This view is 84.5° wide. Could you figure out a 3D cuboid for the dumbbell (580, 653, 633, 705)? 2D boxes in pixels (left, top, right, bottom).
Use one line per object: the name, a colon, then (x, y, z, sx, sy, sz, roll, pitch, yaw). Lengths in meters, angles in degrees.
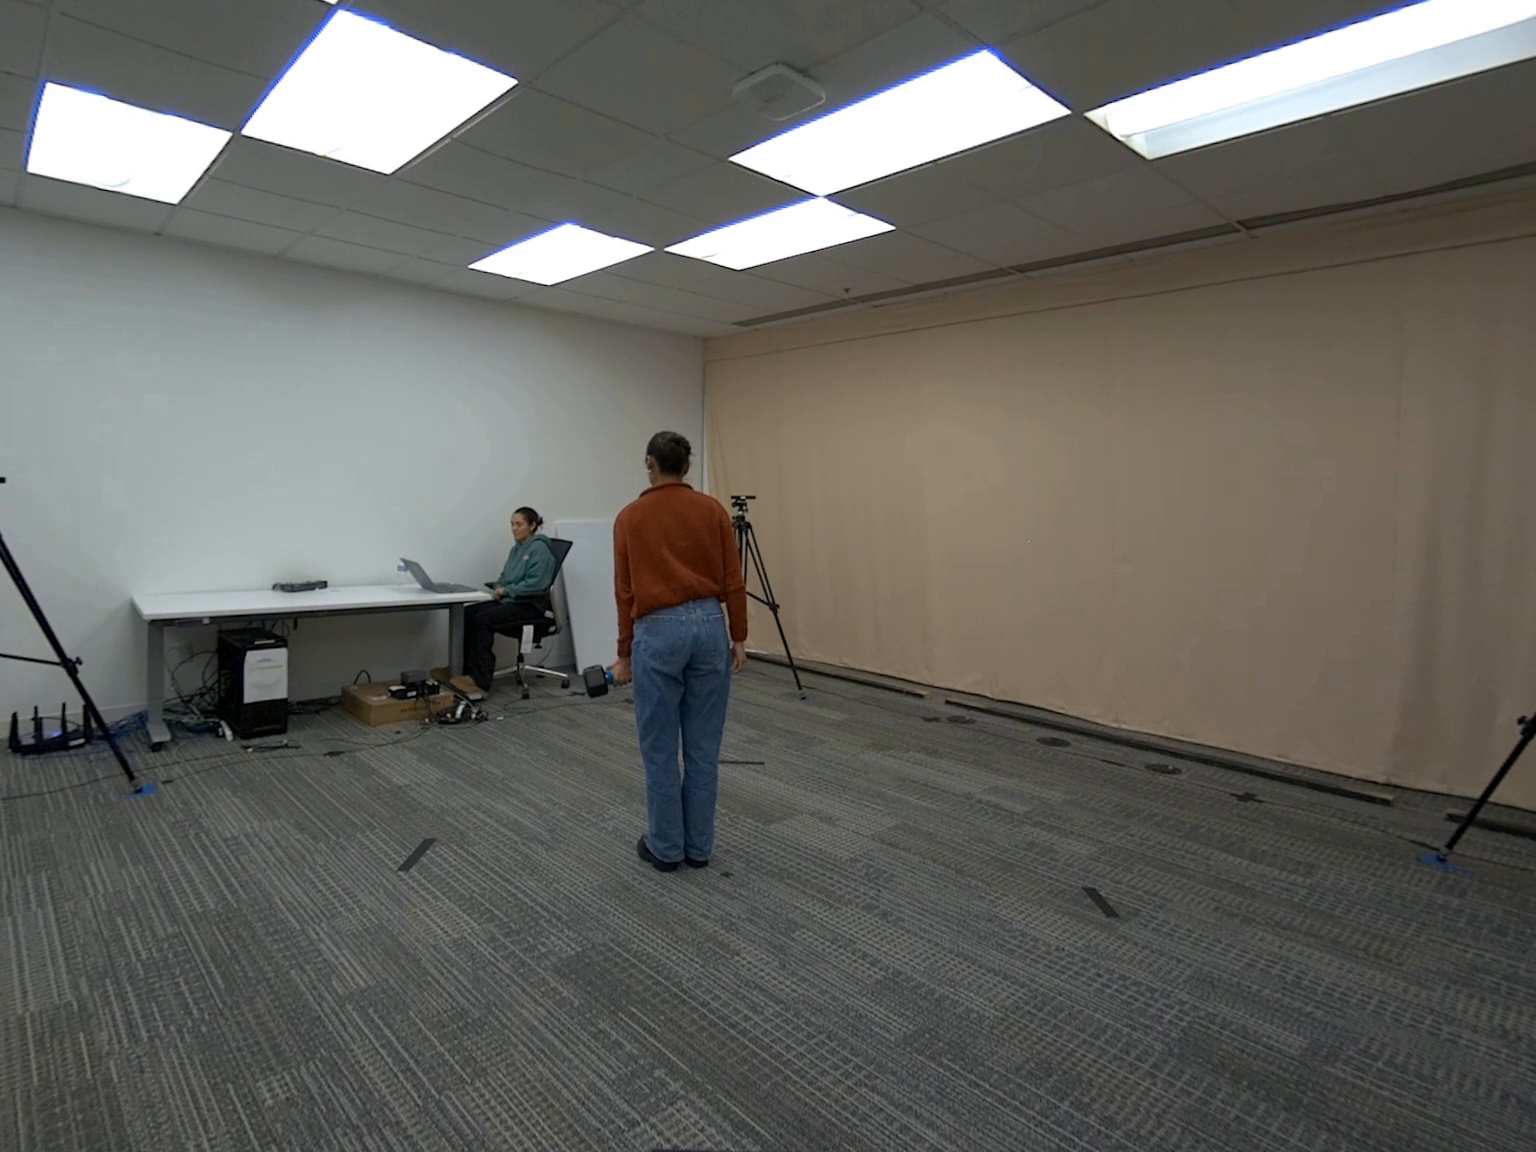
dumbbell: (-0.560, 0.373, 3.246, 0.291, 0.120, 0.112, -13, 41, -13)
